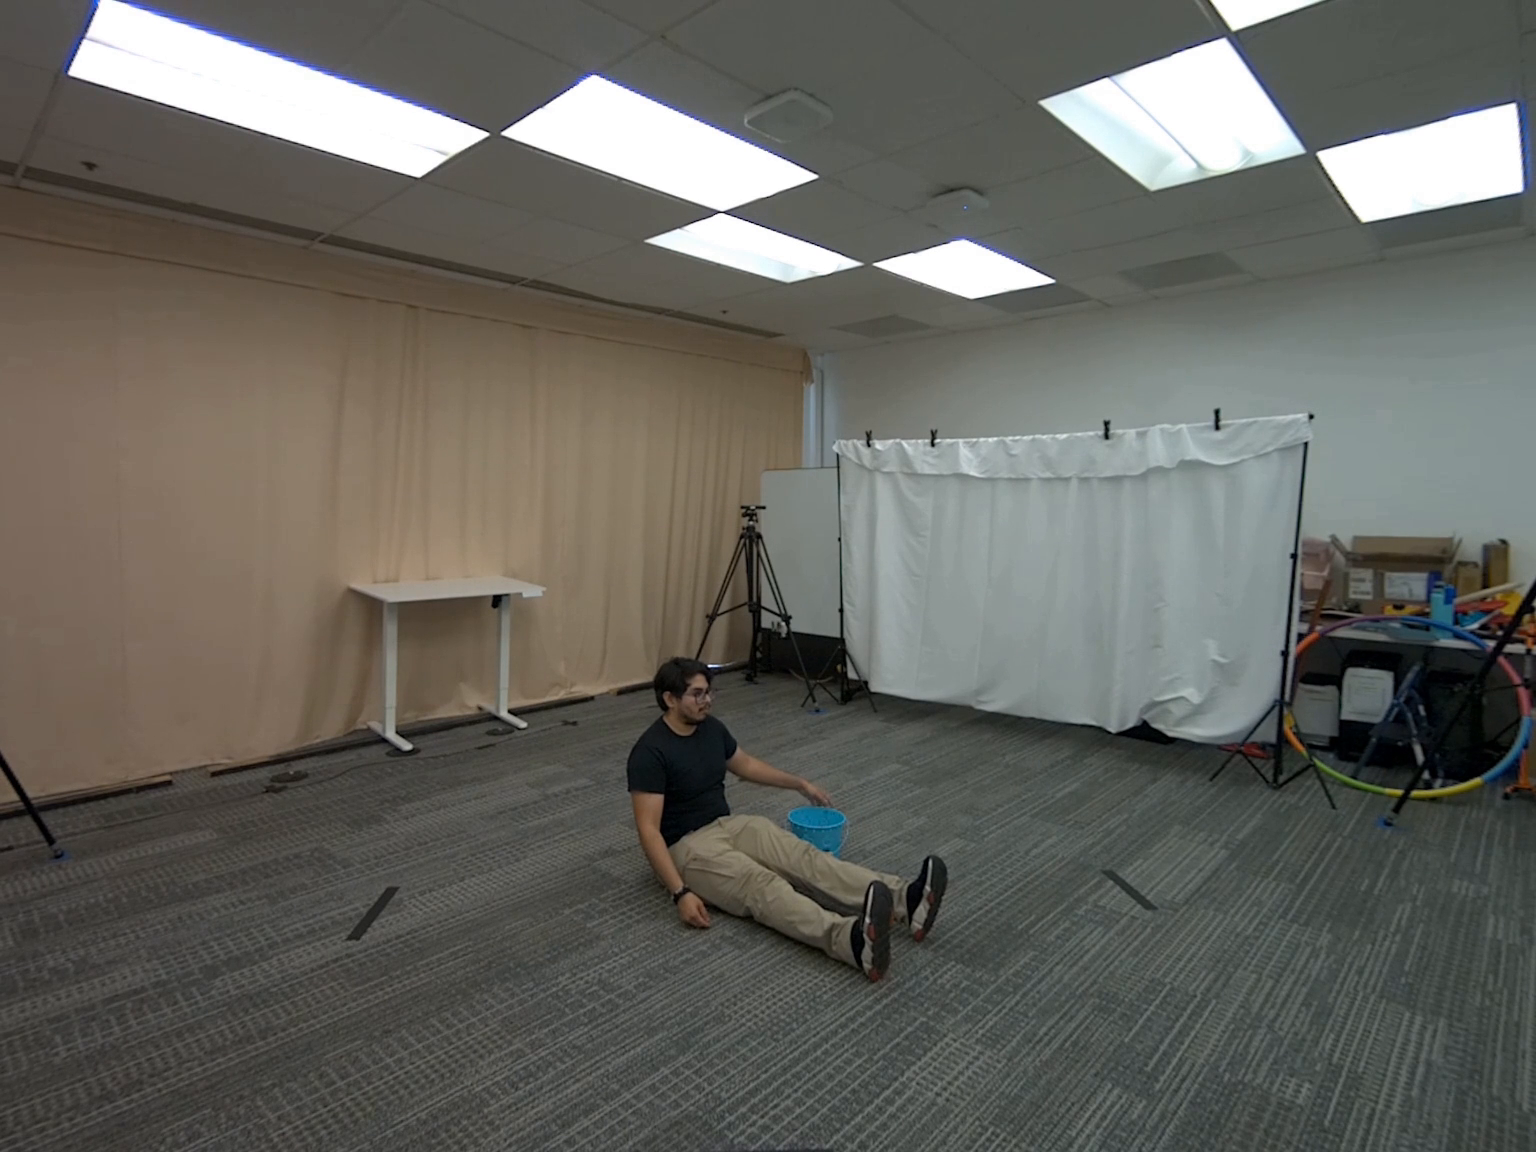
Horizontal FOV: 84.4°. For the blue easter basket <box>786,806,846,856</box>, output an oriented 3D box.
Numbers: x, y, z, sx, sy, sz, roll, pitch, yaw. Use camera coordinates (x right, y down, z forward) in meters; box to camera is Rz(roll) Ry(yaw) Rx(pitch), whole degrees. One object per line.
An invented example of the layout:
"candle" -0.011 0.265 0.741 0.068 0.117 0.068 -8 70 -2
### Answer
"blue easter basket" 0.196 1.033 3.348 0.243 0.155 0.244 1 4 -2
